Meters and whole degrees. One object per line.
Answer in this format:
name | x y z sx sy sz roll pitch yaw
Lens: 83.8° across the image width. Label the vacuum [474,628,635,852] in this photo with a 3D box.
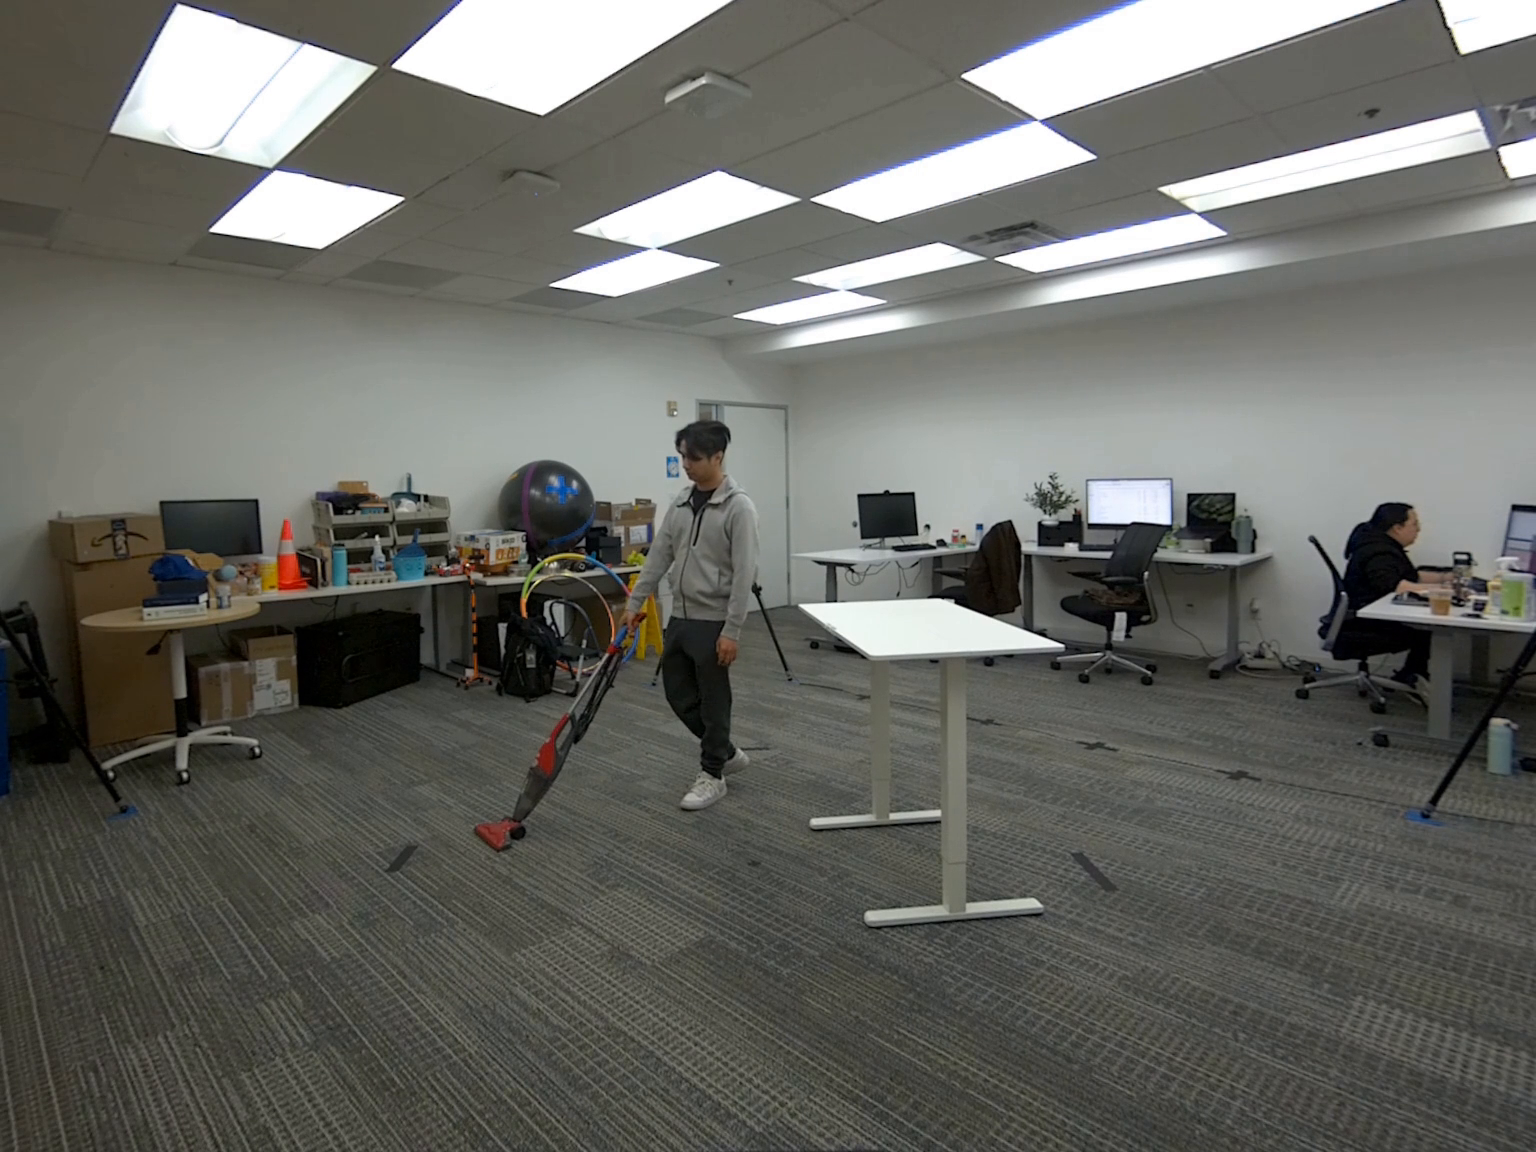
vacuum | -0.802 0.603 3.568 0.260 1.055 0.139 6 -32 46
